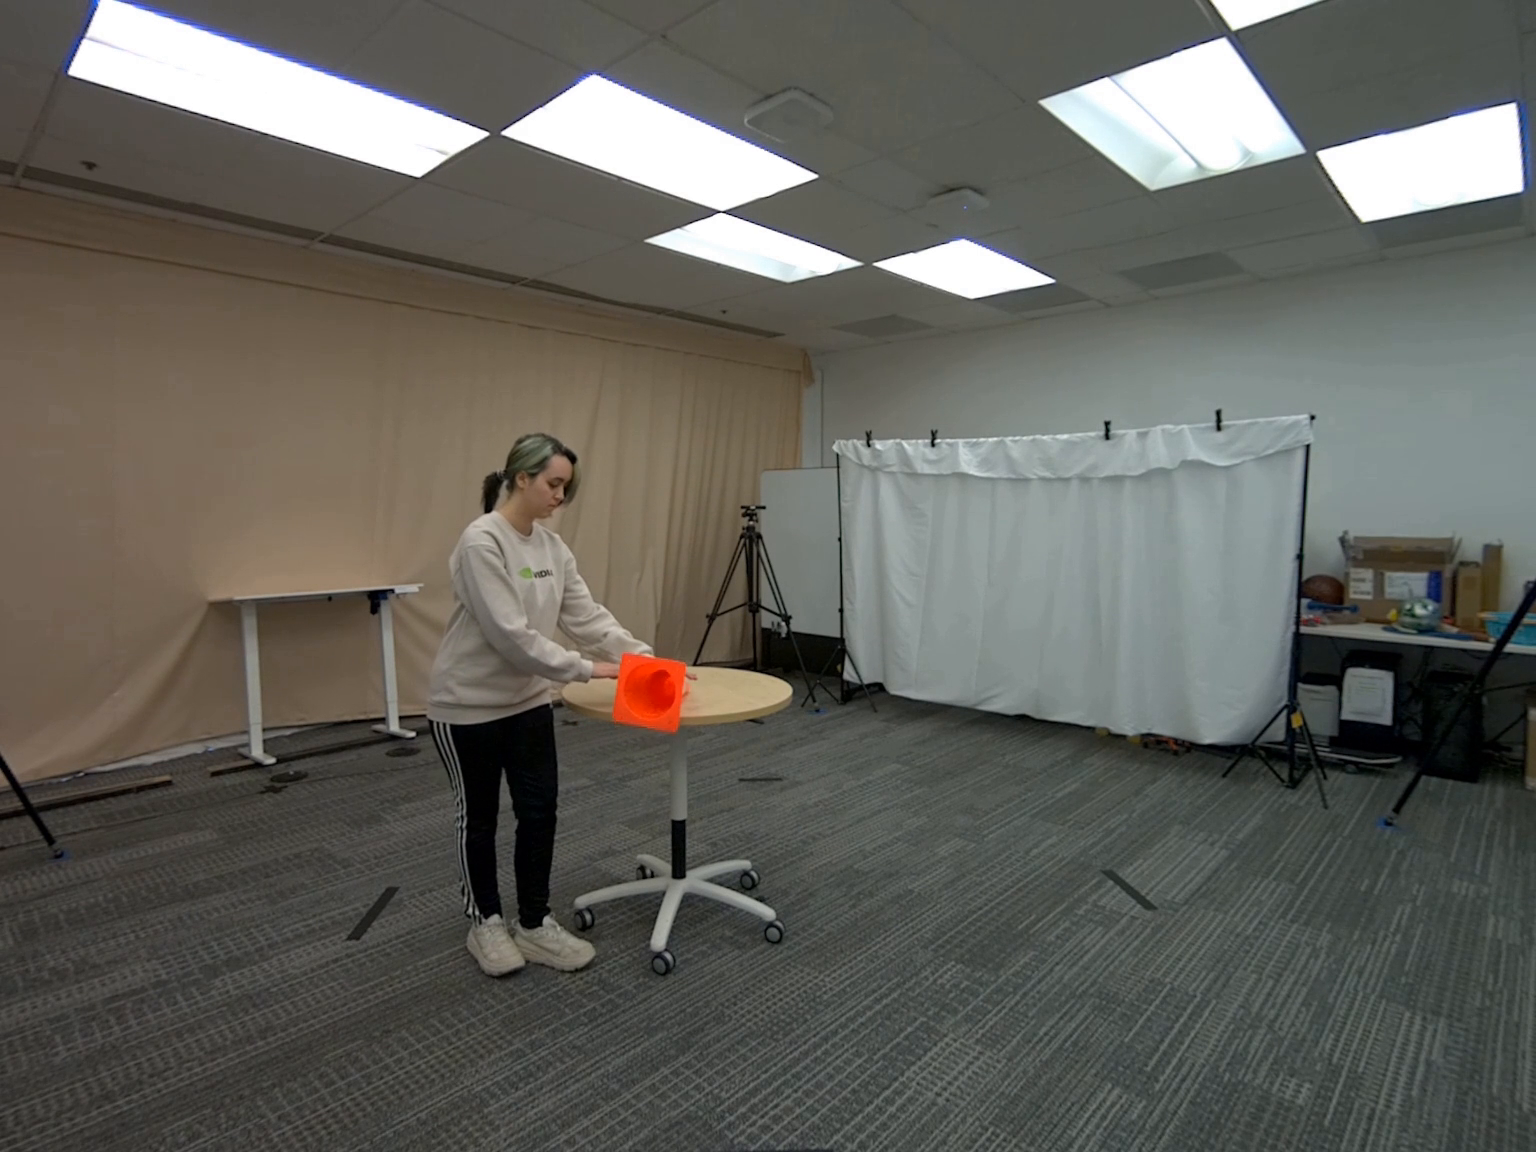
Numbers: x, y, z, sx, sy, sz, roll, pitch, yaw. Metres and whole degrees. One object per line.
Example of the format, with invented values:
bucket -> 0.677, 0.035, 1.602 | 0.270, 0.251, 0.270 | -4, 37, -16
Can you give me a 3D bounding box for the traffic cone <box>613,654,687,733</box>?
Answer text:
traffic cone -> -0.304, 0.357, 2.567 | 0.207, 0.205, 0.376 | 9, -4, 13
